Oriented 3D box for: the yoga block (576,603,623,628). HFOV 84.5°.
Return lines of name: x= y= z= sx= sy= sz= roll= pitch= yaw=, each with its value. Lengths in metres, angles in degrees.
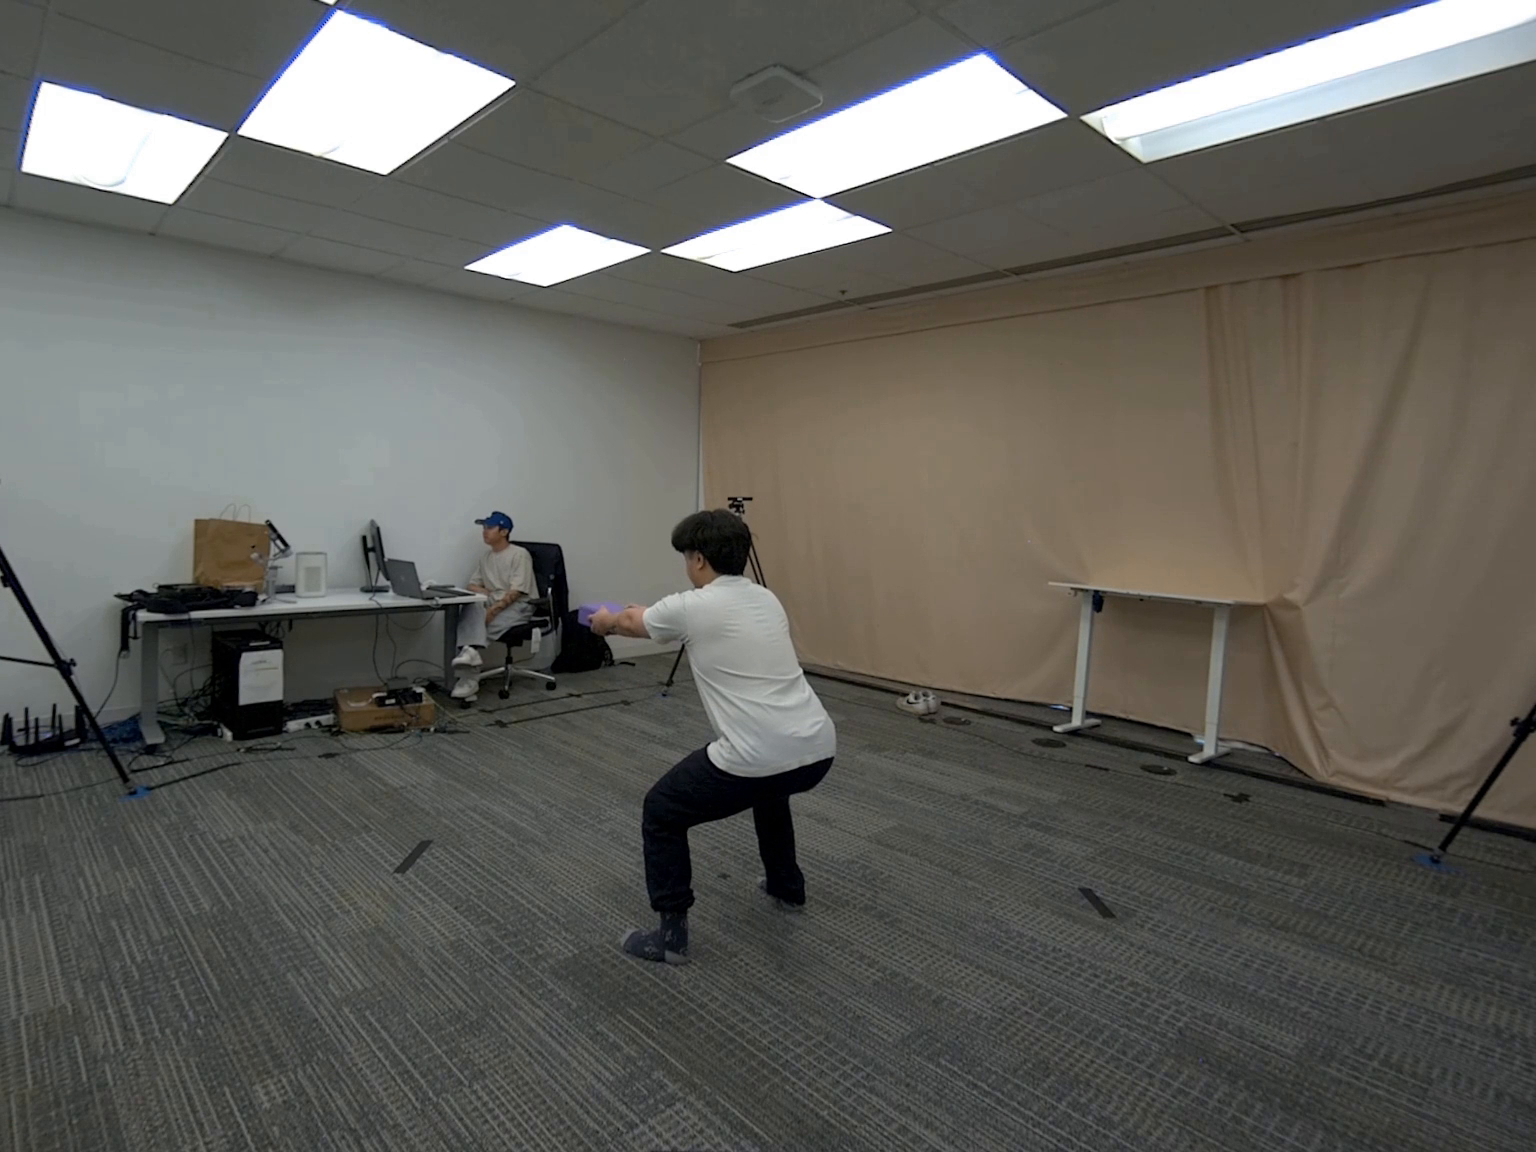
yoga block: x=-0.598 y=0.160 z=3.220 sx=0.235 sy=0.076 sz=0.145 roll=9 pitch=8 yaw=39
